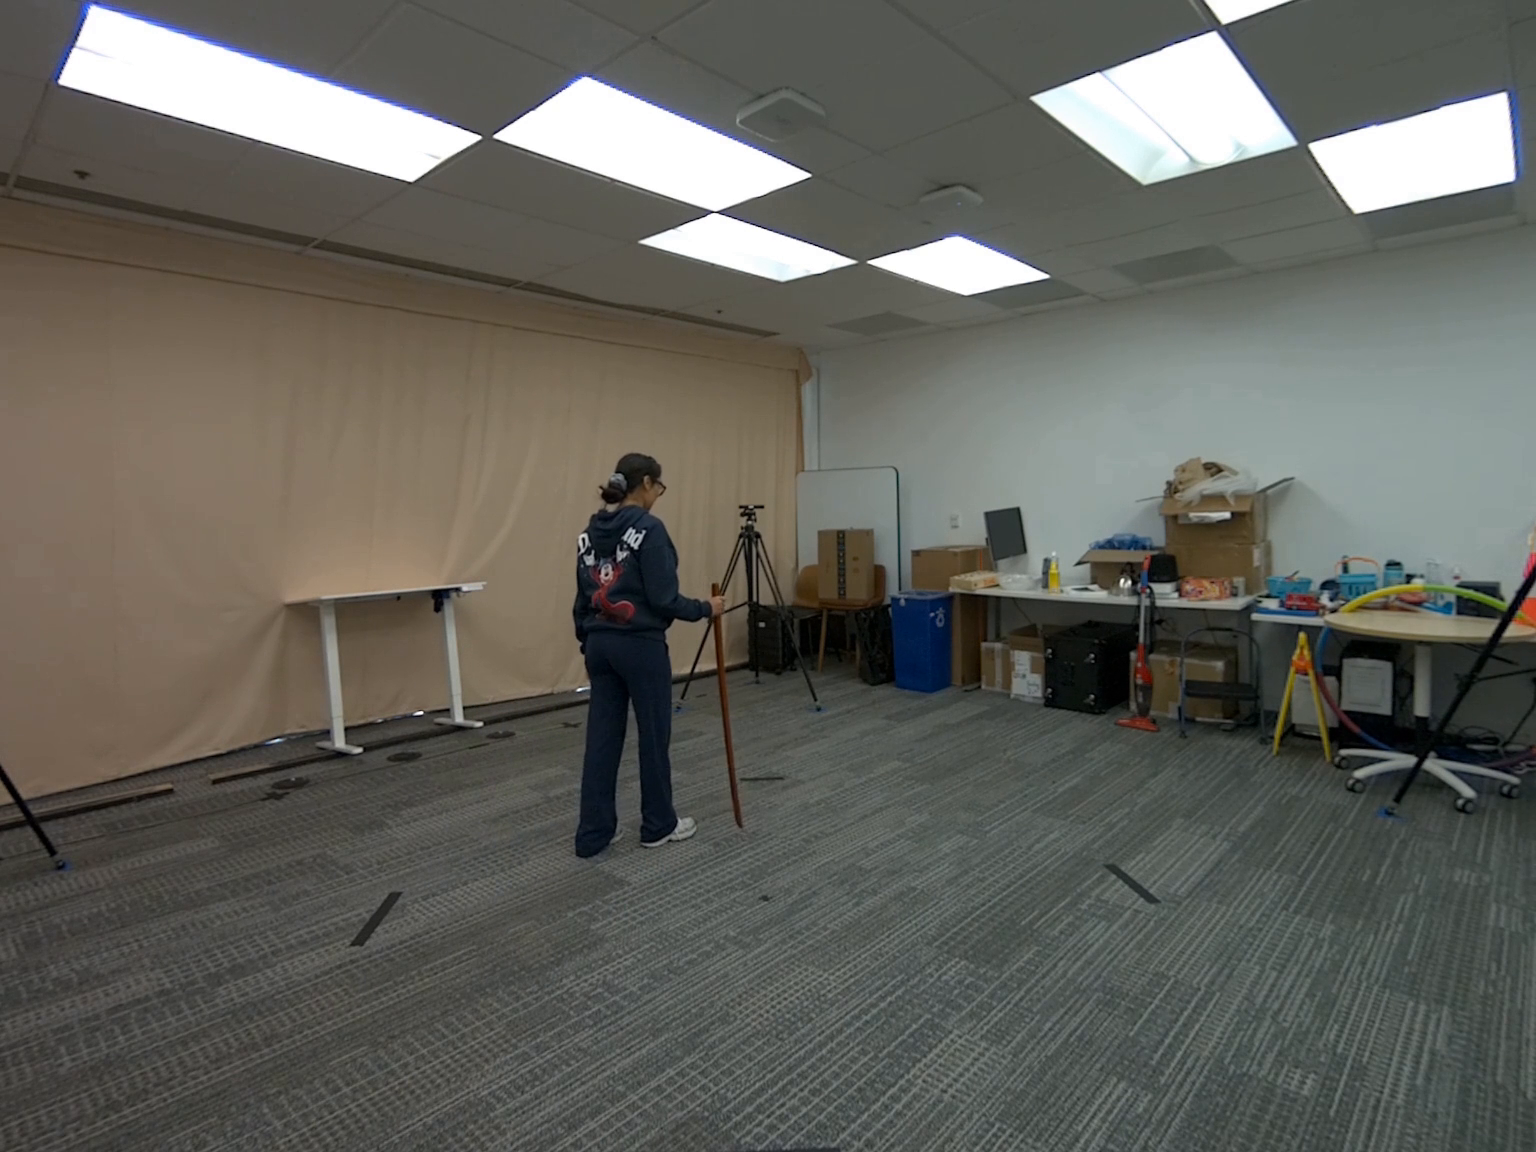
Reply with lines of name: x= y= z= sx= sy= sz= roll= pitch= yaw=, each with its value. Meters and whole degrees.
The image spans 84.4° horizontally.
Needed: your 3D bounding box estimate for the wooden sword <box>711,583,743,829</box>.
wooden sword: x=-0.183 y=0.559 z=3.497 sx=0.052 sy=1.023 sz=0.024 roll=-2 pitch=3 yaw=13
